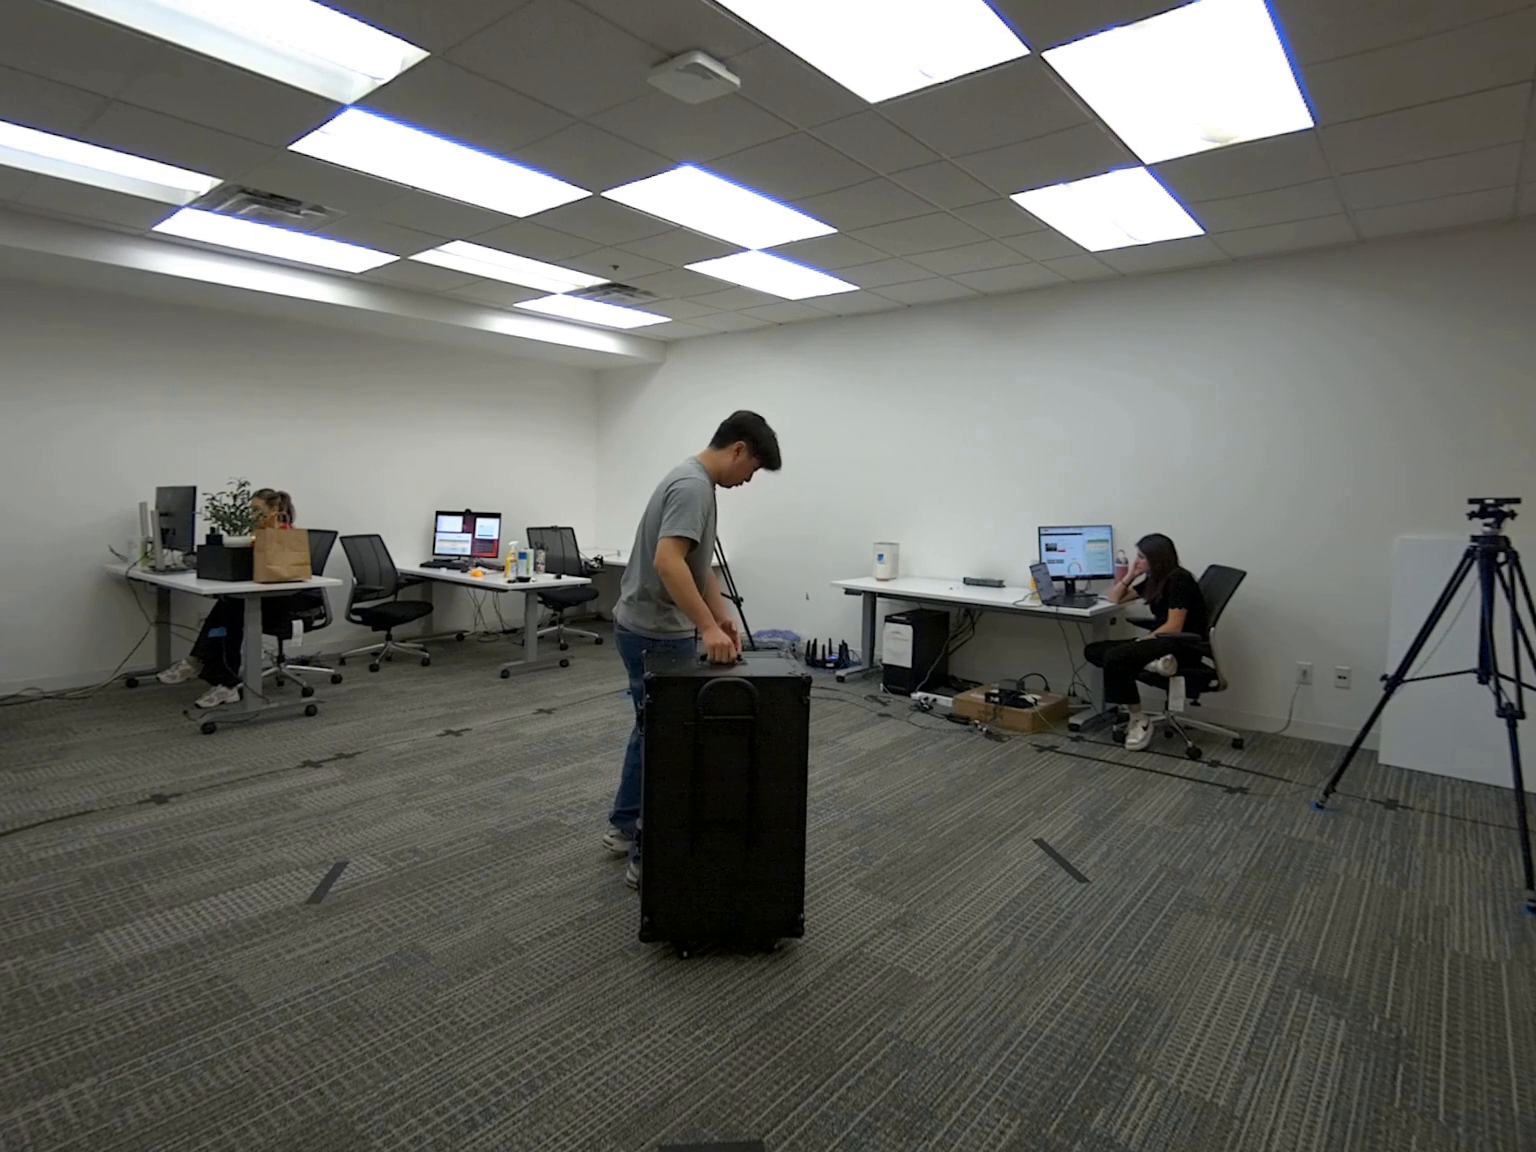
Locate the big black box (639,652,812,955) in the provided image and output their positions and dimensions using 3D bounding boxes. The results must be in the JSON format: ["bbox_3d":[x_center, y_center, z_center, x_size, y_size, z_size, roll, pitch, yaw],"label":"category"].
[{"bbox_3d":[-0.162,0.626,2.626,0.518,0.860,0.399,1,2,-5],"label":"big black box"}]
